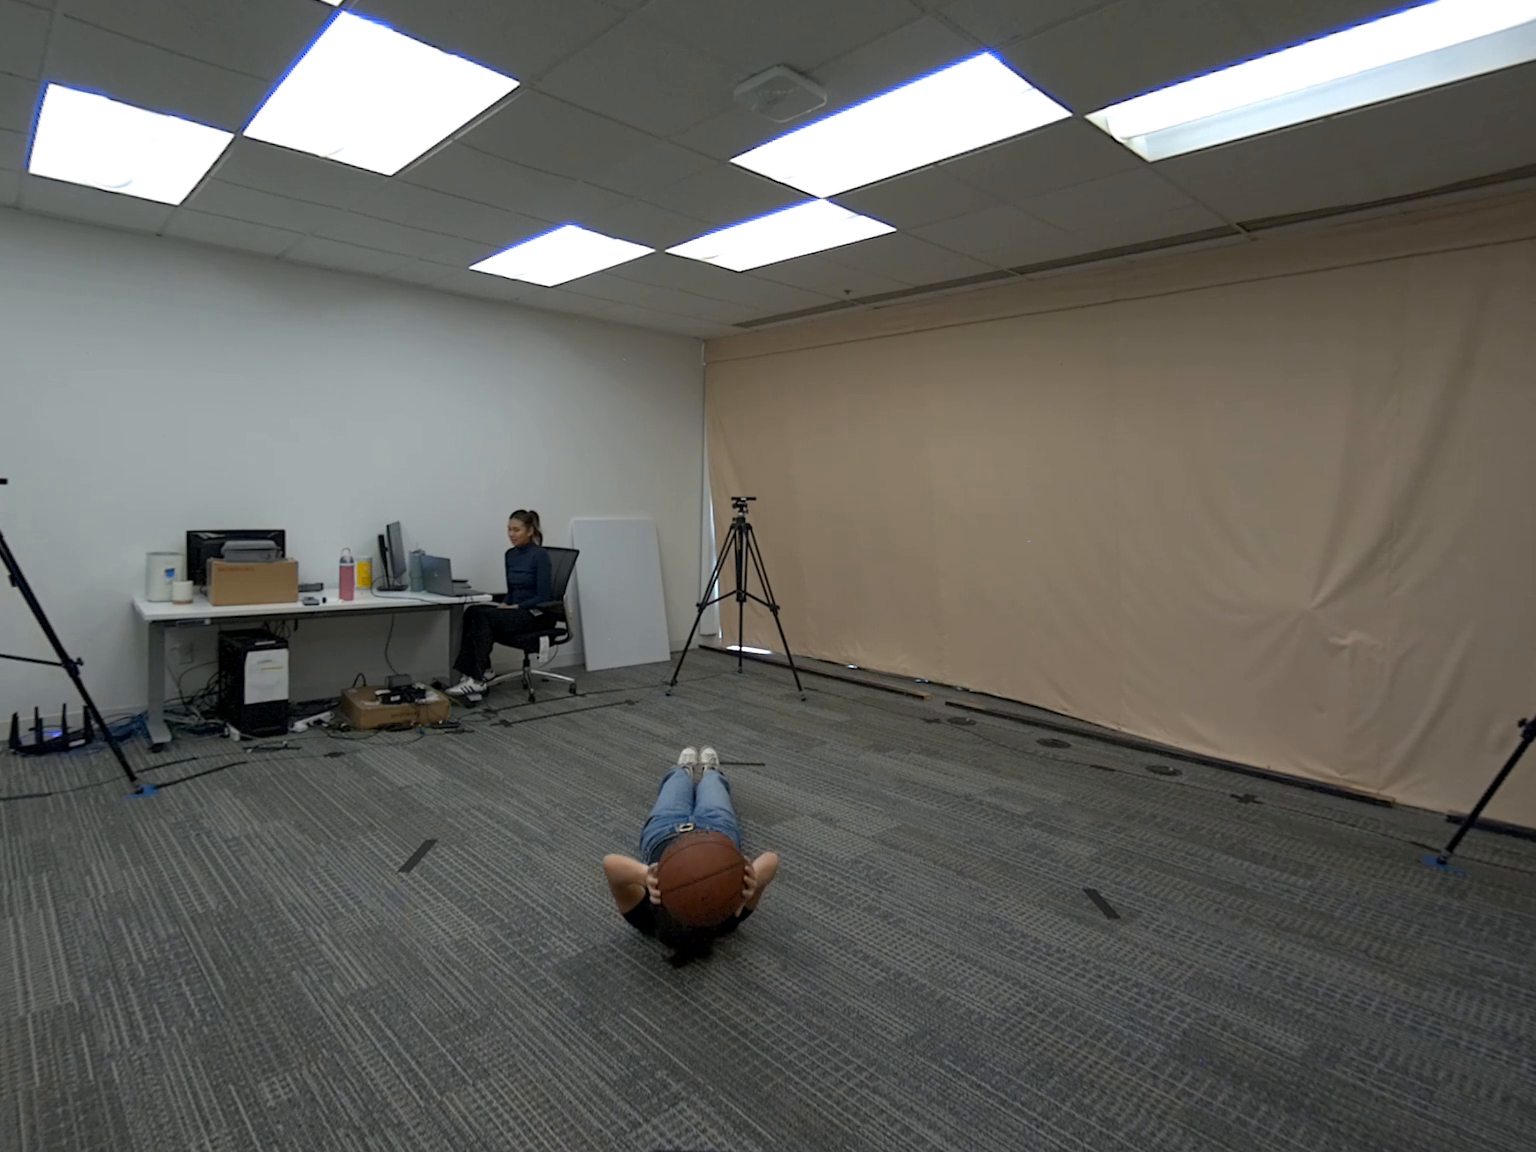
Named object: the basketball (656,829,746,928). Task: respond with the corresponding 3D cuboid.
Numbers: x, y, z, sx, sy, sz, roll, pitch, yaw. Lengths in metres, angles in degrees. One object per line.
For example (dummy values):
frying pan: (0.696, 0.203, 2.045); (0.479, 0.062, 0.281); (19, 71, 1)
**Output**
basketball: (-0.180, 0.798, 2.209); (0.236, 0.235, 0.237); (1, 4, -1)
